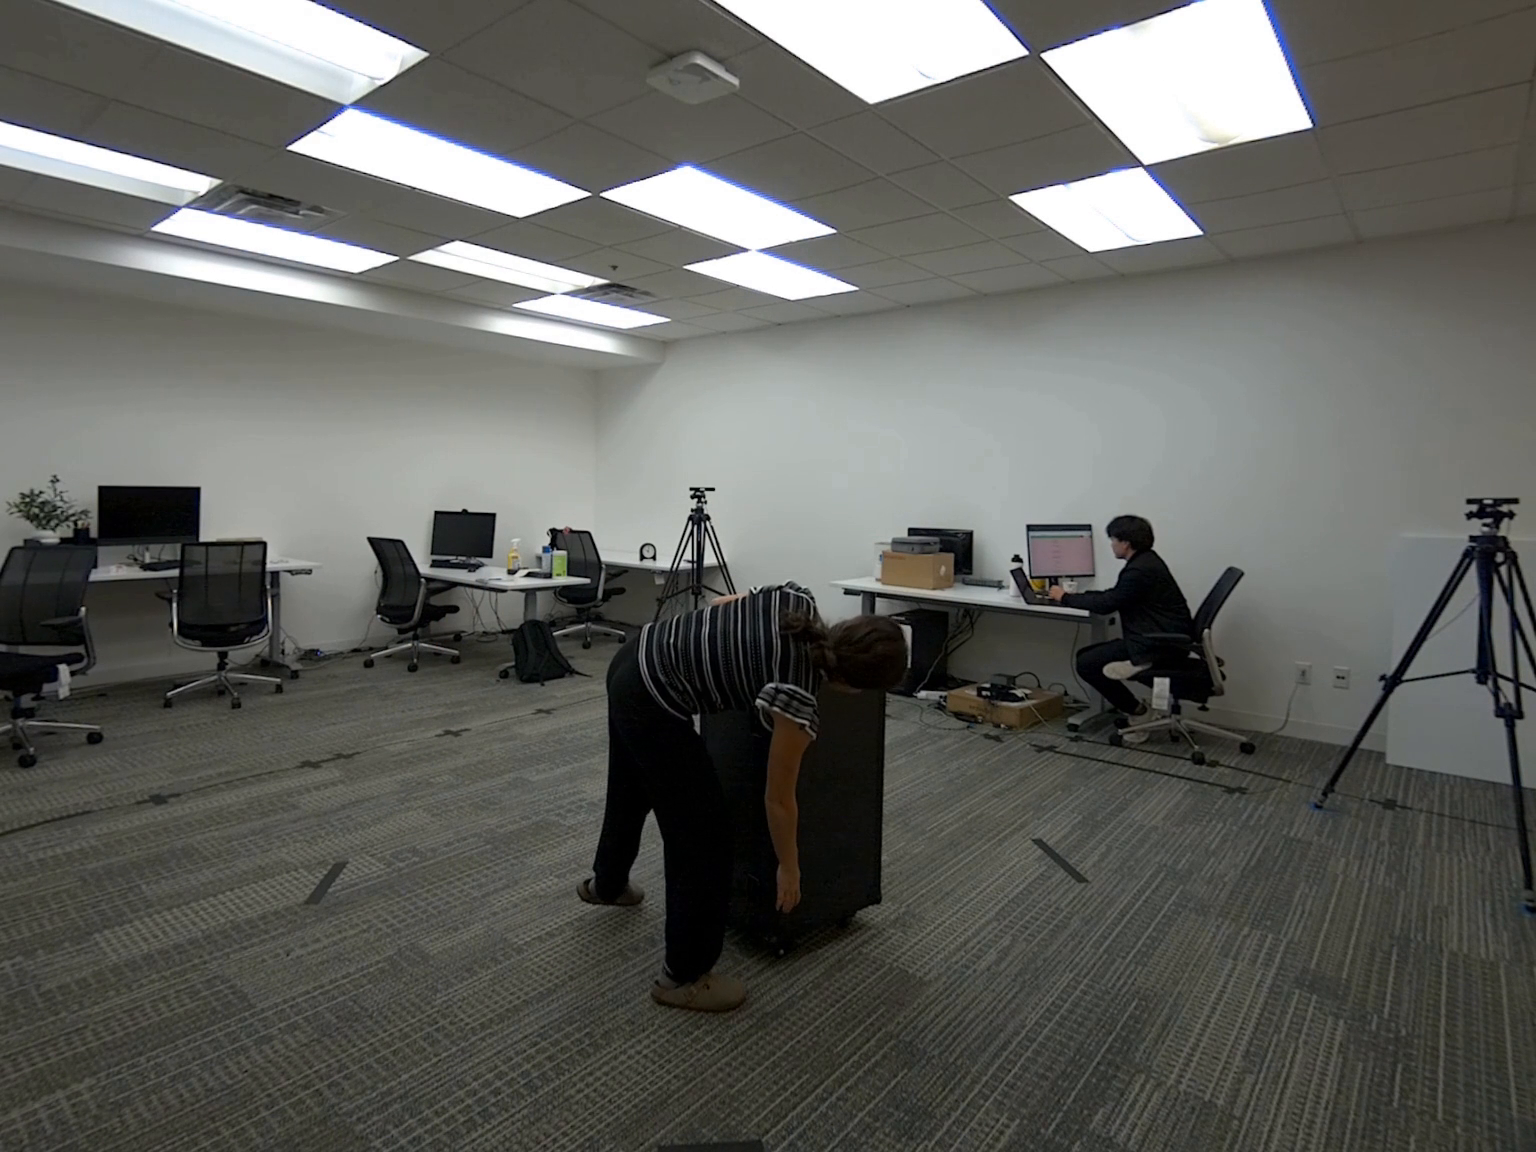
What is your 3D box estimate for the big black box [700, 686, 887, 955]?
[{"bbox_3d":[0.059,0.686,2.714,0.506,0.860,0.409,-2,3,-39],"label":"big black box"}]
